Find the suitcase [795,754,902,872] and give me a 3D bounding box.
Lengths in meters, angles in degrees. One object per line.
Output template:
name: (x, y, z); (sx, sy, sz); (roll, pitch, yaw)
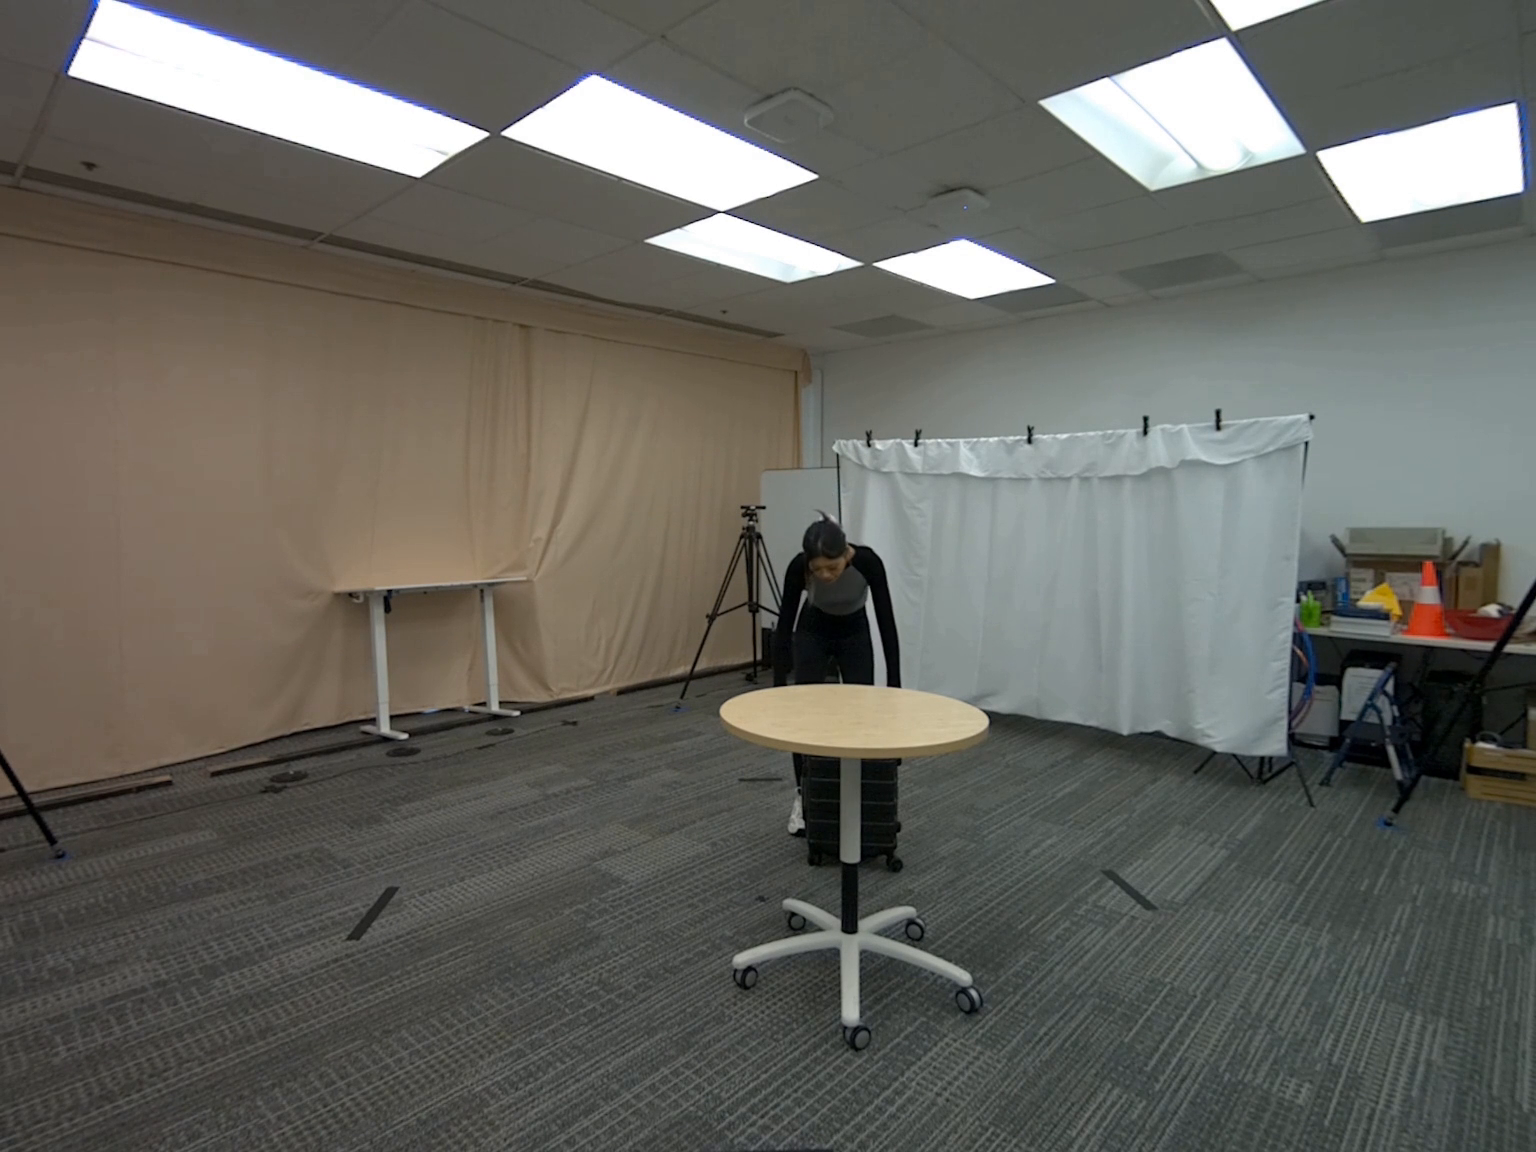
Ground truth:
suitcase: (0.332, 0.840, 3.328); (0.377, 0.548, 0.247); (0, 3, 4)
